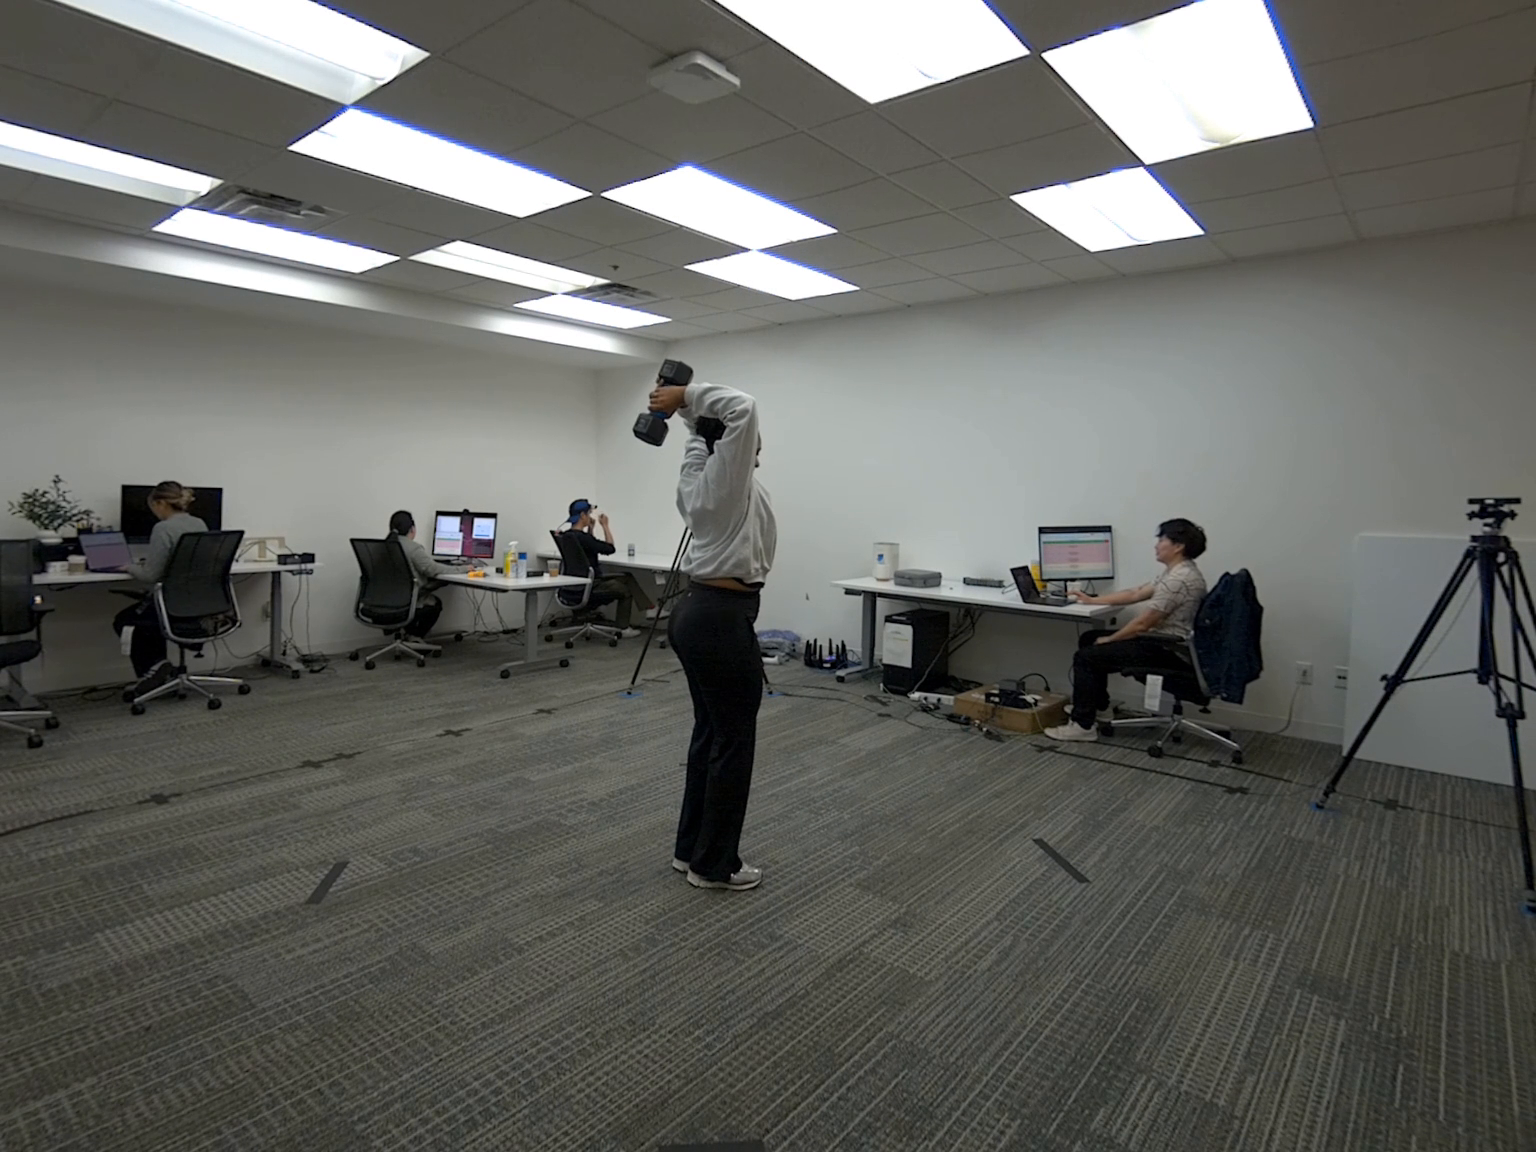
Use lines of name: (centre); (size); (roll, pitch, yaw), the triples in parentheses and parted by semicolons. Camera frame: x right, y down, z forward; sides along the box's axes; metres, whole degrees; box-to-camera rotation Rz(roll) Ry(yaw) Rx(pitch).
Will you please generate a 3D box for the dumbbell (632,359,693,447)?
dumbbell: (-0.365, -0.608, 2.935); (0.127, 0.294, 0.104); (22, -8, 30)
